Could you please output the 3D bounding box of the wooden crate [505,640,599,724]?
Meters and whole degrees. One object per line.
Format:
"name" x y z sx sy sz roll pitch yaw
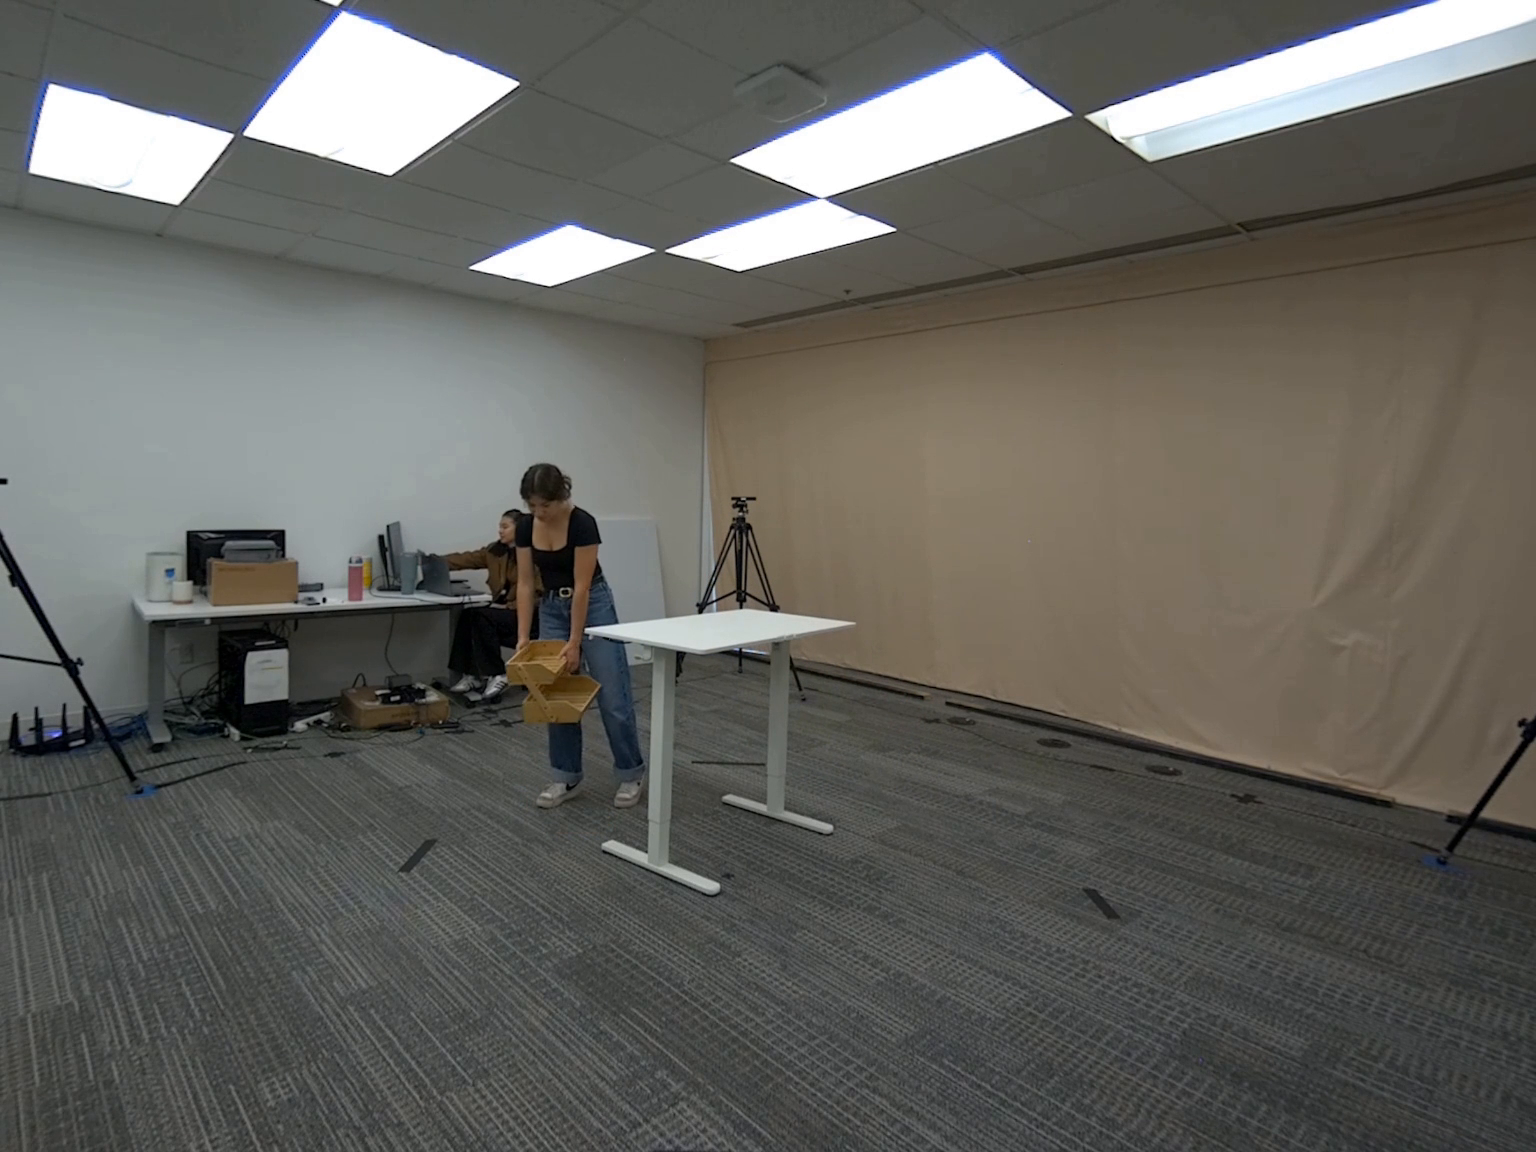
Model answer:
"wooden crate" -0.907 0.446 3.588 0.303 0.271 0.326 -5 11 5
